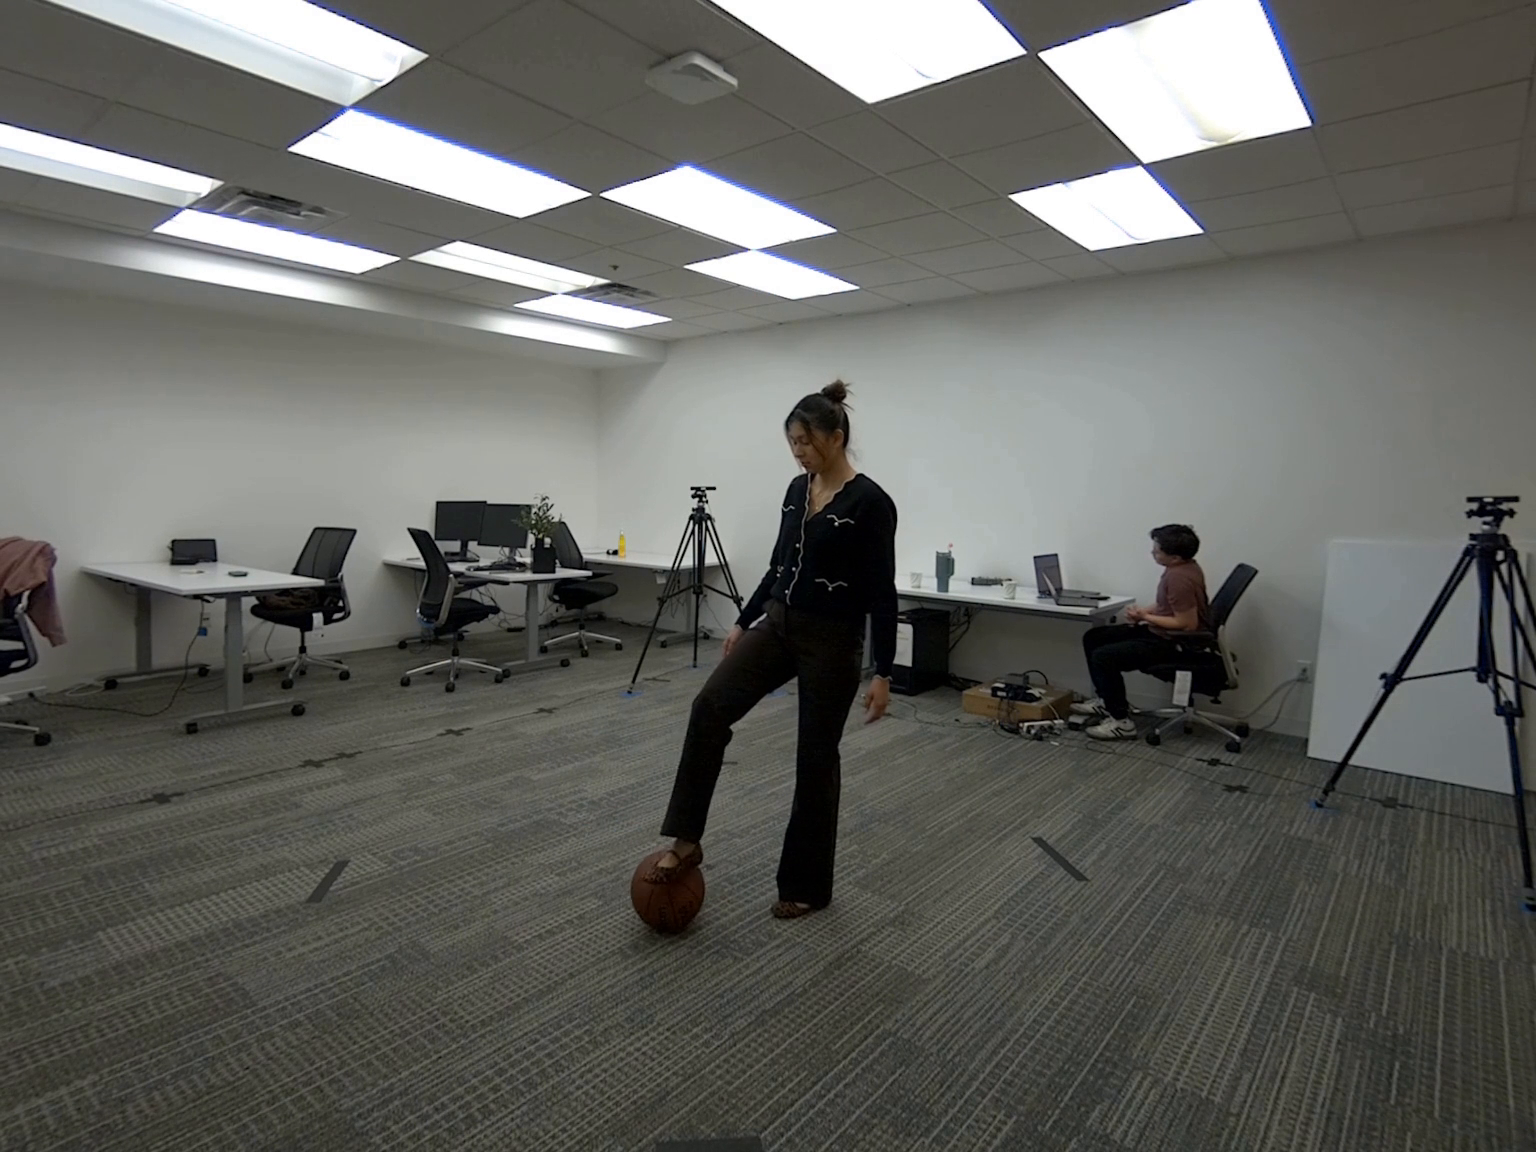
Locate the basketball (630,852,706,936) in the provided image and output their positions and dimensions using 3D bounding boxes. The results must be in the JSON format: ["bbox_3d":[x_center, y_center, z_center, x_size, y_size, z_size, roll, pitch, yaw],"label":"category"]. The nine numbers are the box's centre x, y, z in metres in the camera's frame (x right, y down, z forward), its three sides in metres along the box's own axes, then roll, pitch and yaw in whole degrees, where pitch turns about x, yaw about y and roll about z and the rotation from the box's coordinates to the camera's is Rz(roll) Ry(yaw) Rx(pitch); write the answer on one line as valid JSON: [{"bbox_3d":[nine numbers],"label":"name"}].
[{"bbox_3d":[-0.332,0.986,2.695,0.235,0.235,0.237,1,4,-2],"label":"basketball"}]
